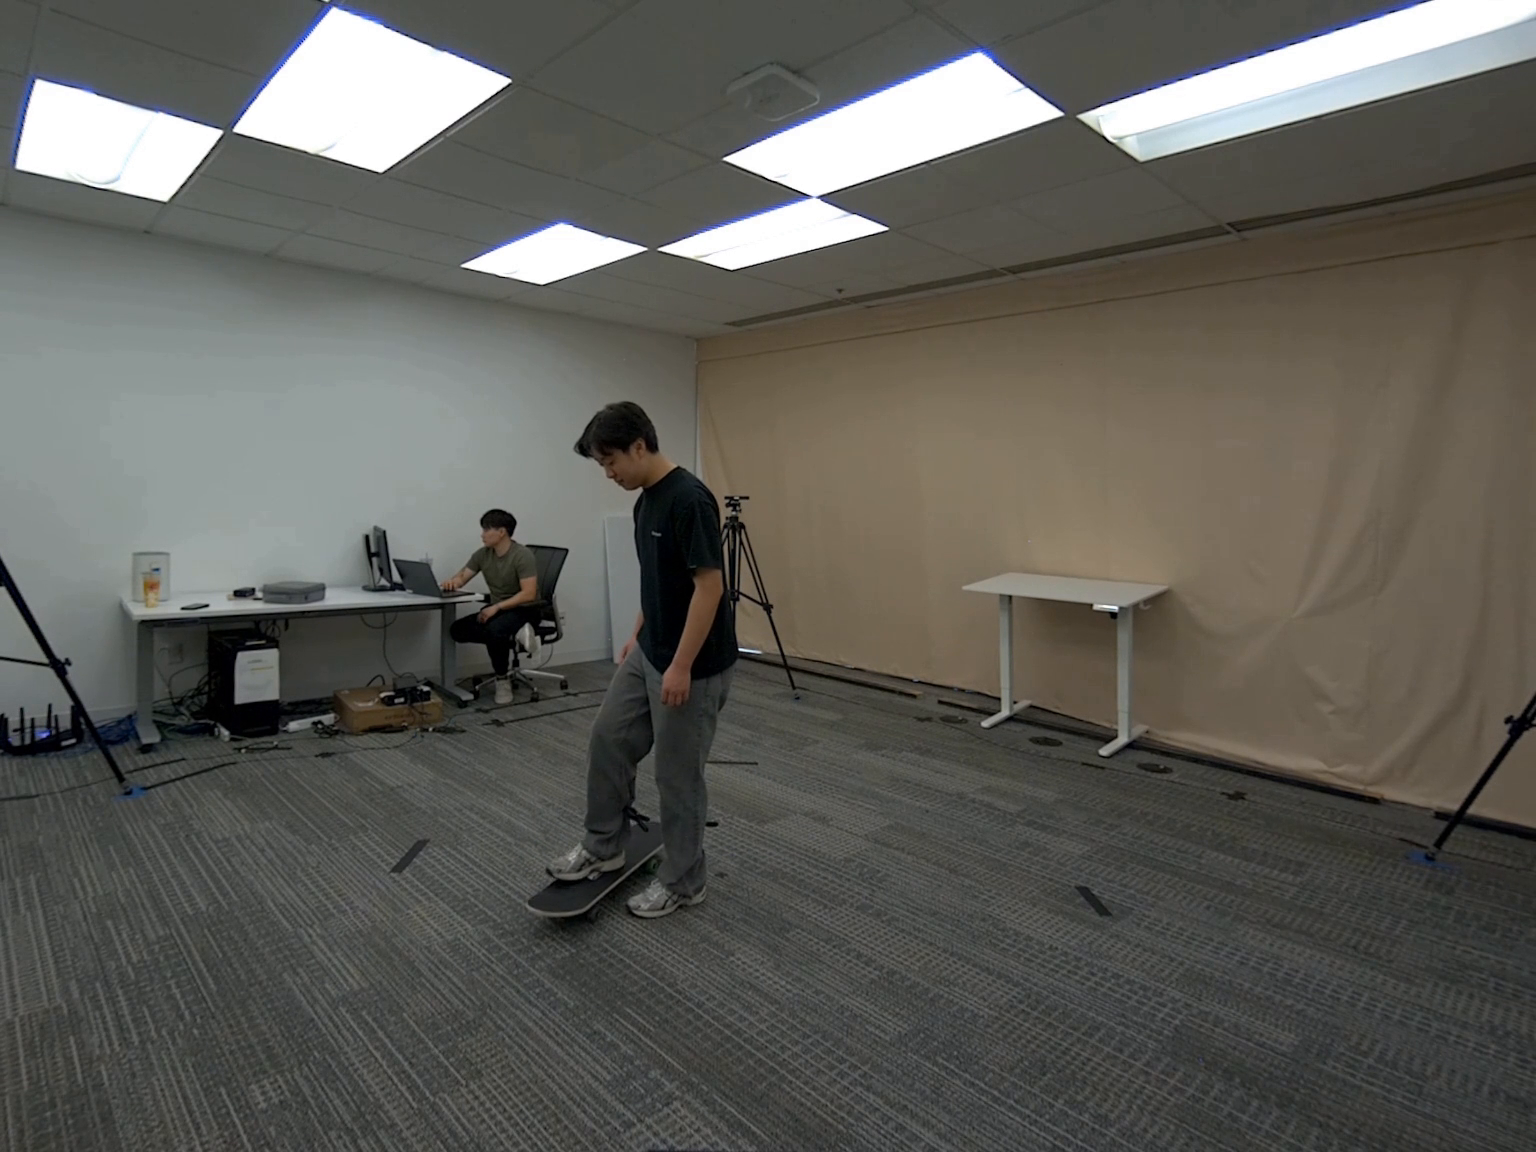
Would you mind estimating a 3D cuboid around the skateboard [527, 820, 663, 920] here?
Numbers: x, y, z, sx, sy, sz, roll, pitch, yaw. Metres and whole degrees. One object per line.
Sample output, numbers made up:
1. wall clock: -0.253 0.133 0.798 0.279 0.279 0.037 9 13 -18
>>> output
1. skateboard: -0.579 1.053 2.950 0.196 0.110 0.775 3 5 19
